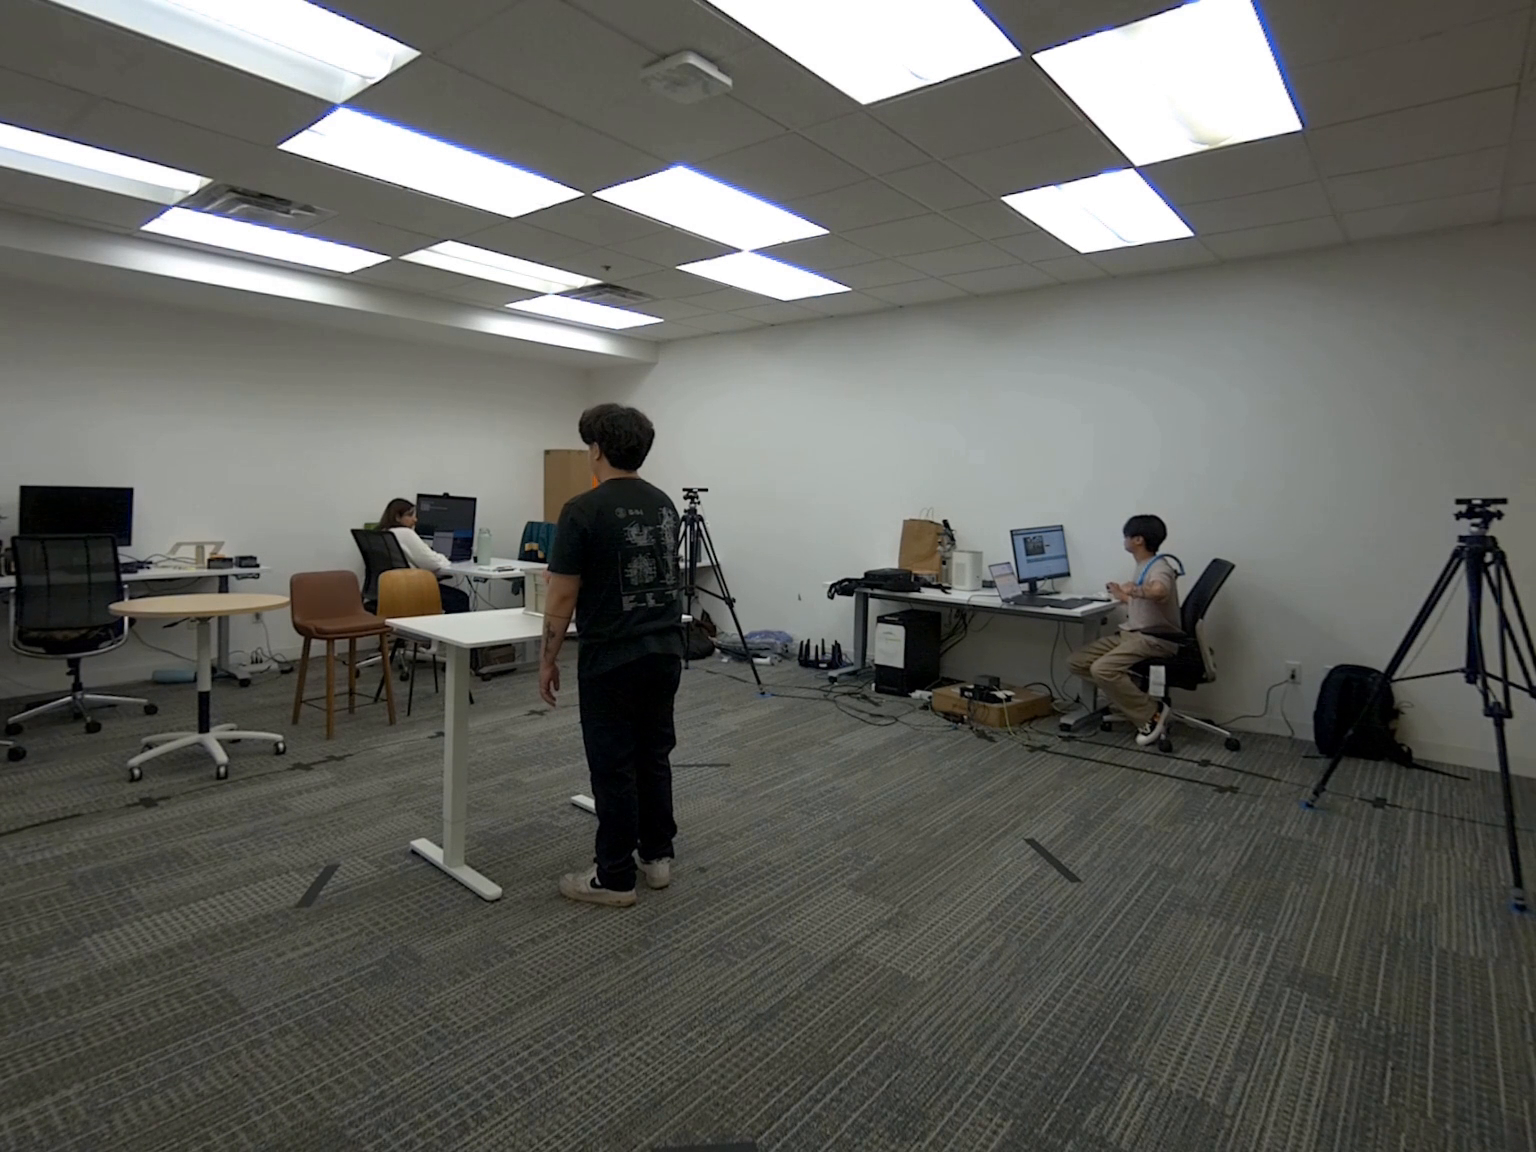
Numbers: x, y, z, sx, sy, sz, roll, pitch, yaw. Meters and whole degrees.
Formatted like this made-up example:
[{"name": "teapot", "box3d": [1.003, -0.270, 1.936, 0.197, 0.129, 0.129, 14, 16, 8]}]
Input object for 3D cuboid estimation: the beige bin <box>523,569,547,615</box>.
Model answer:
[{"name": "beige bin", "box3d": [-0.712, 0.063, 3.408, 0.390, 0.188, 0.410, 4, 6, 41]}]
